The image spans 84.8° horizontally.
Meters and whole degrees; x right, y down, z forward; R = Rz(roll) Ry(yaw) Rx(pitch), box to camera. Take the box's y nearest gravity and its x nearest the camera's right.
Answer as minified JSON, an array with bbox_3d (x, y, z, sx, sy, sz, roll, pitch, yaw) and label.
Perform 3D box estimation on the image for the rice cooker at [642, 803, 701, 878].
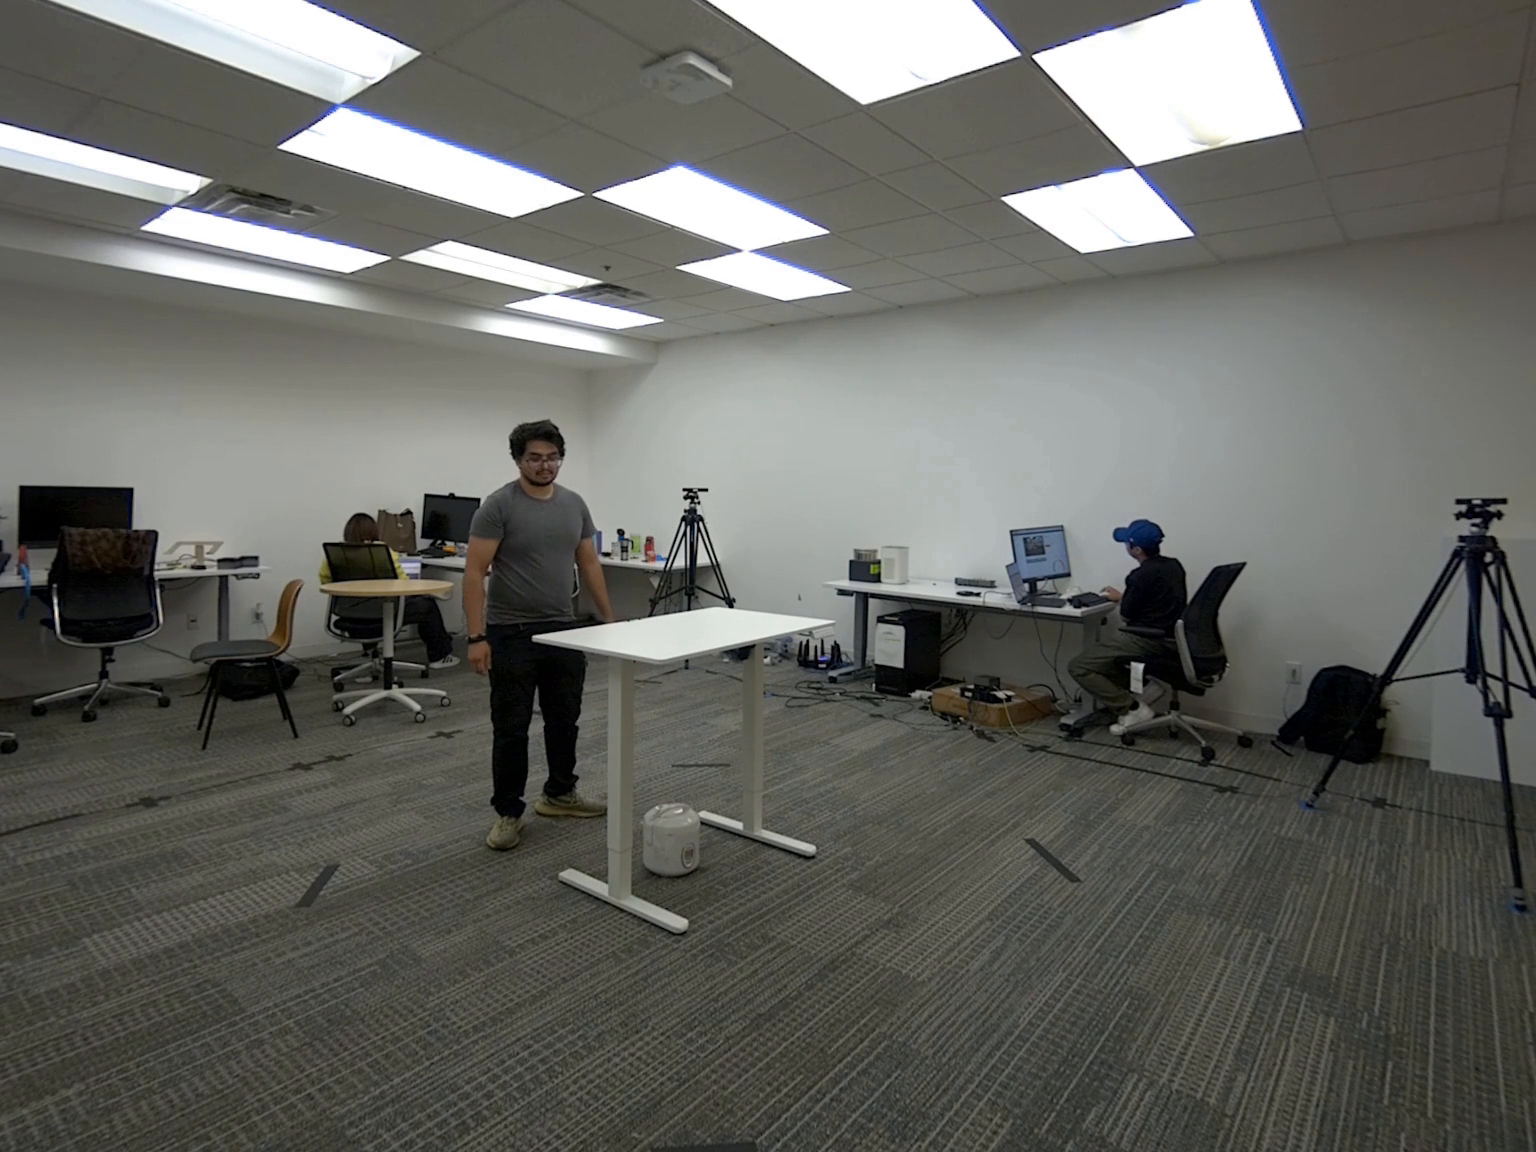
[{"bbox_3d":[-0.361,0.953,3.116,0.214,0.232,0.224,-2,4,-40],"label":"rice cooker"}]
